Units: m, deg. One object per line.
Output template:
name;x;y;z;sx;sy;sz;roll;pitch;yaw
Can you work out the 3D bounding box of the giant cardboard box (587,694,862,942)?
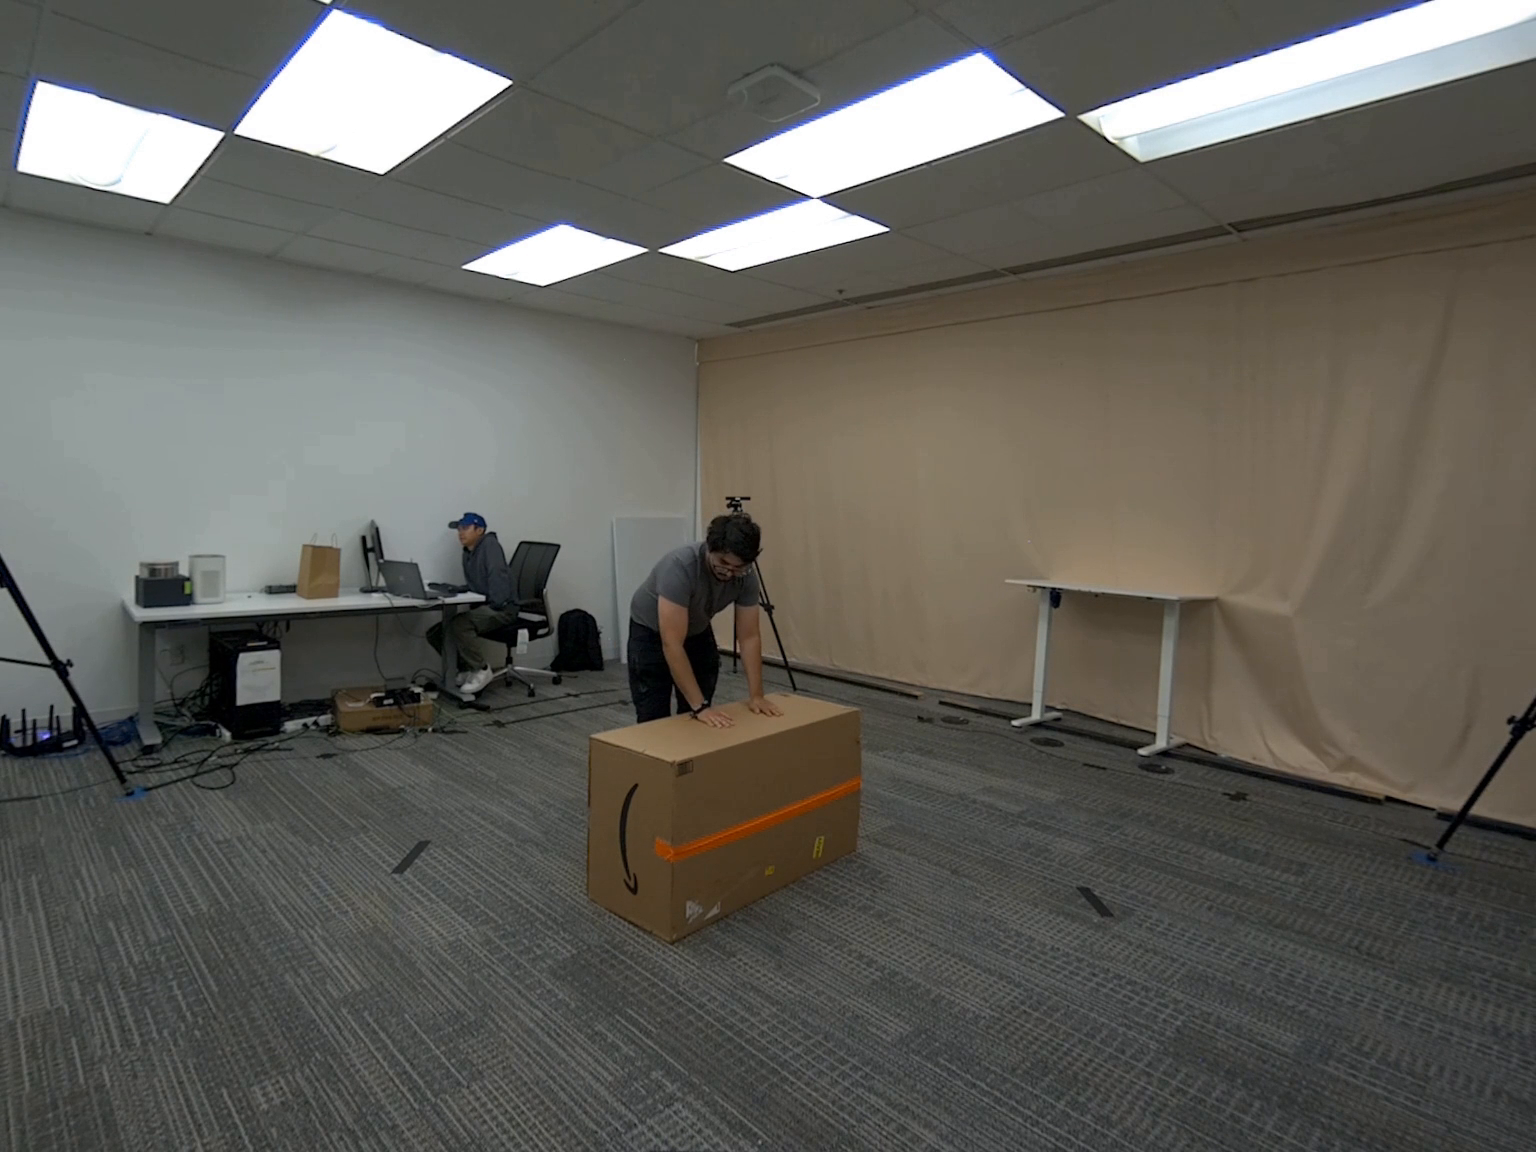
giant cardboard box;-0.129;0.818;3.107;0.437;0.576;1.003;5;5;41
